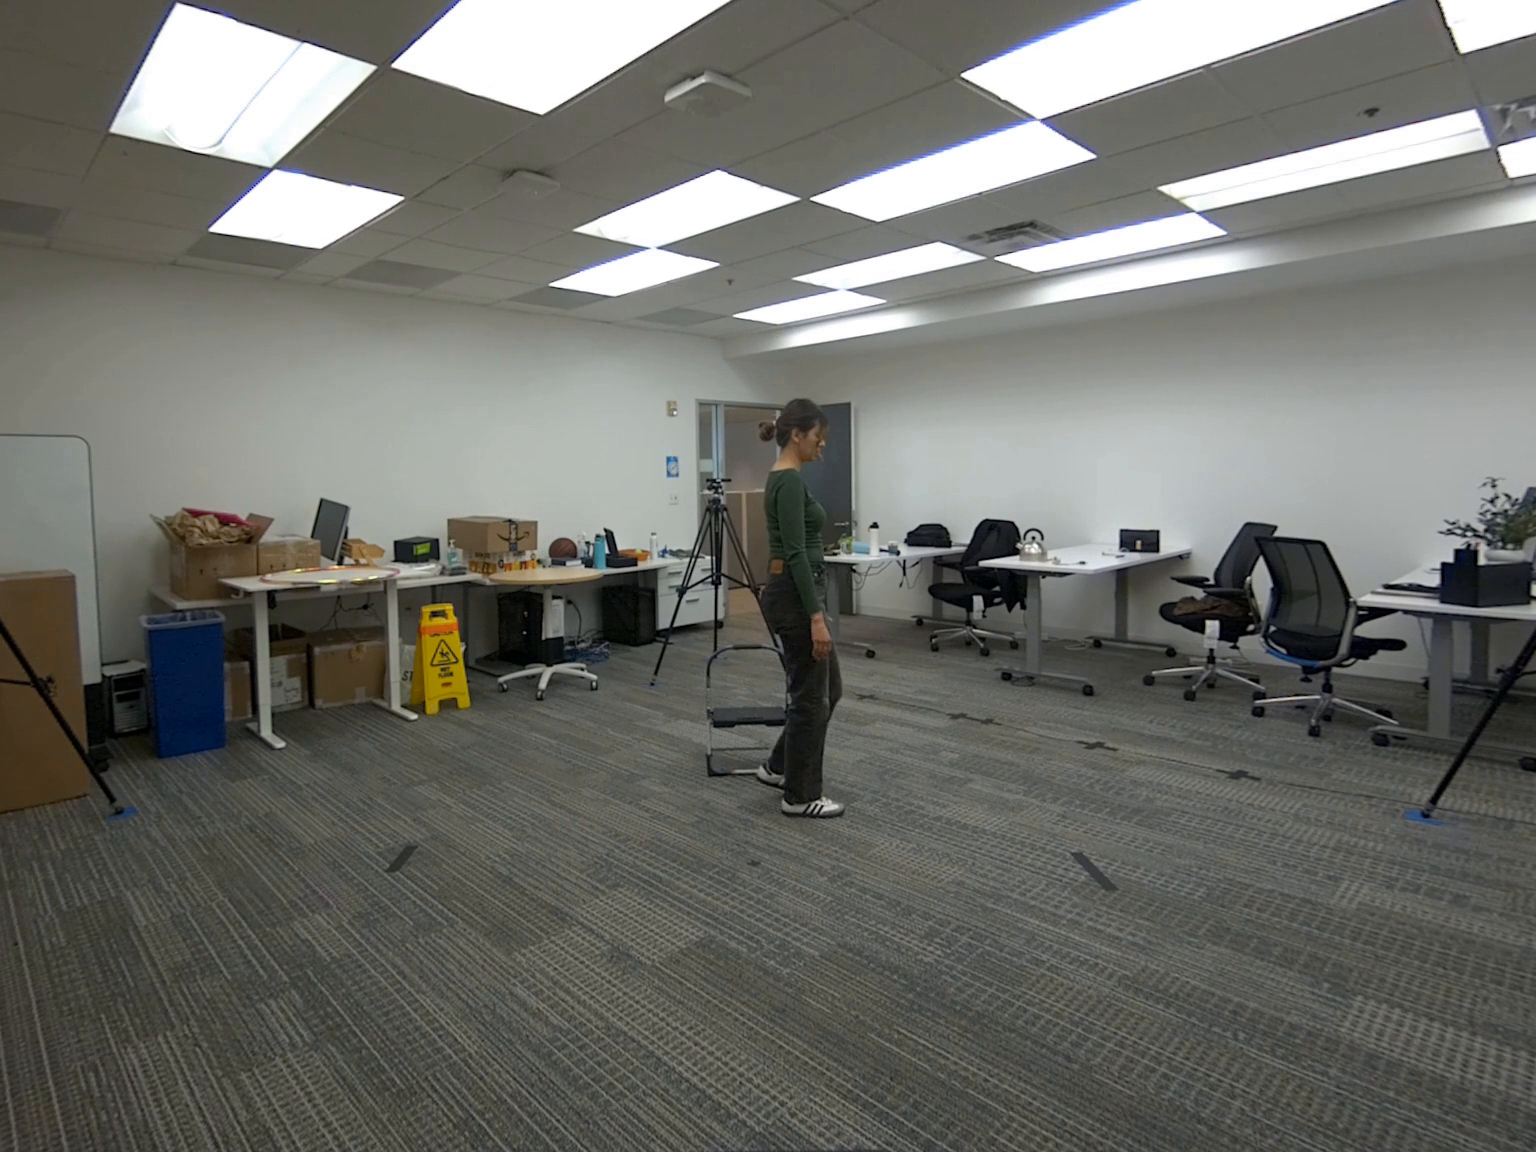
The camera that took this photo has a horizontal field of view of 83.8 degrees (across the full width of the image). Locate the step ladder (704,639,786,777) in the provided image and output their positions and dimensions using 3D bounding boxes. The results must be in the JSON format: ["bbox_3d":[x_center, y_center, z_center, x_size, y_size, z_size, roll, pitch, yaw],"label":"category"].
[{"bbox_3d":[-0.100,0.625,4.180,0.430,0.604,0.351,-2,4,-3],"label":"step ladder"}]
